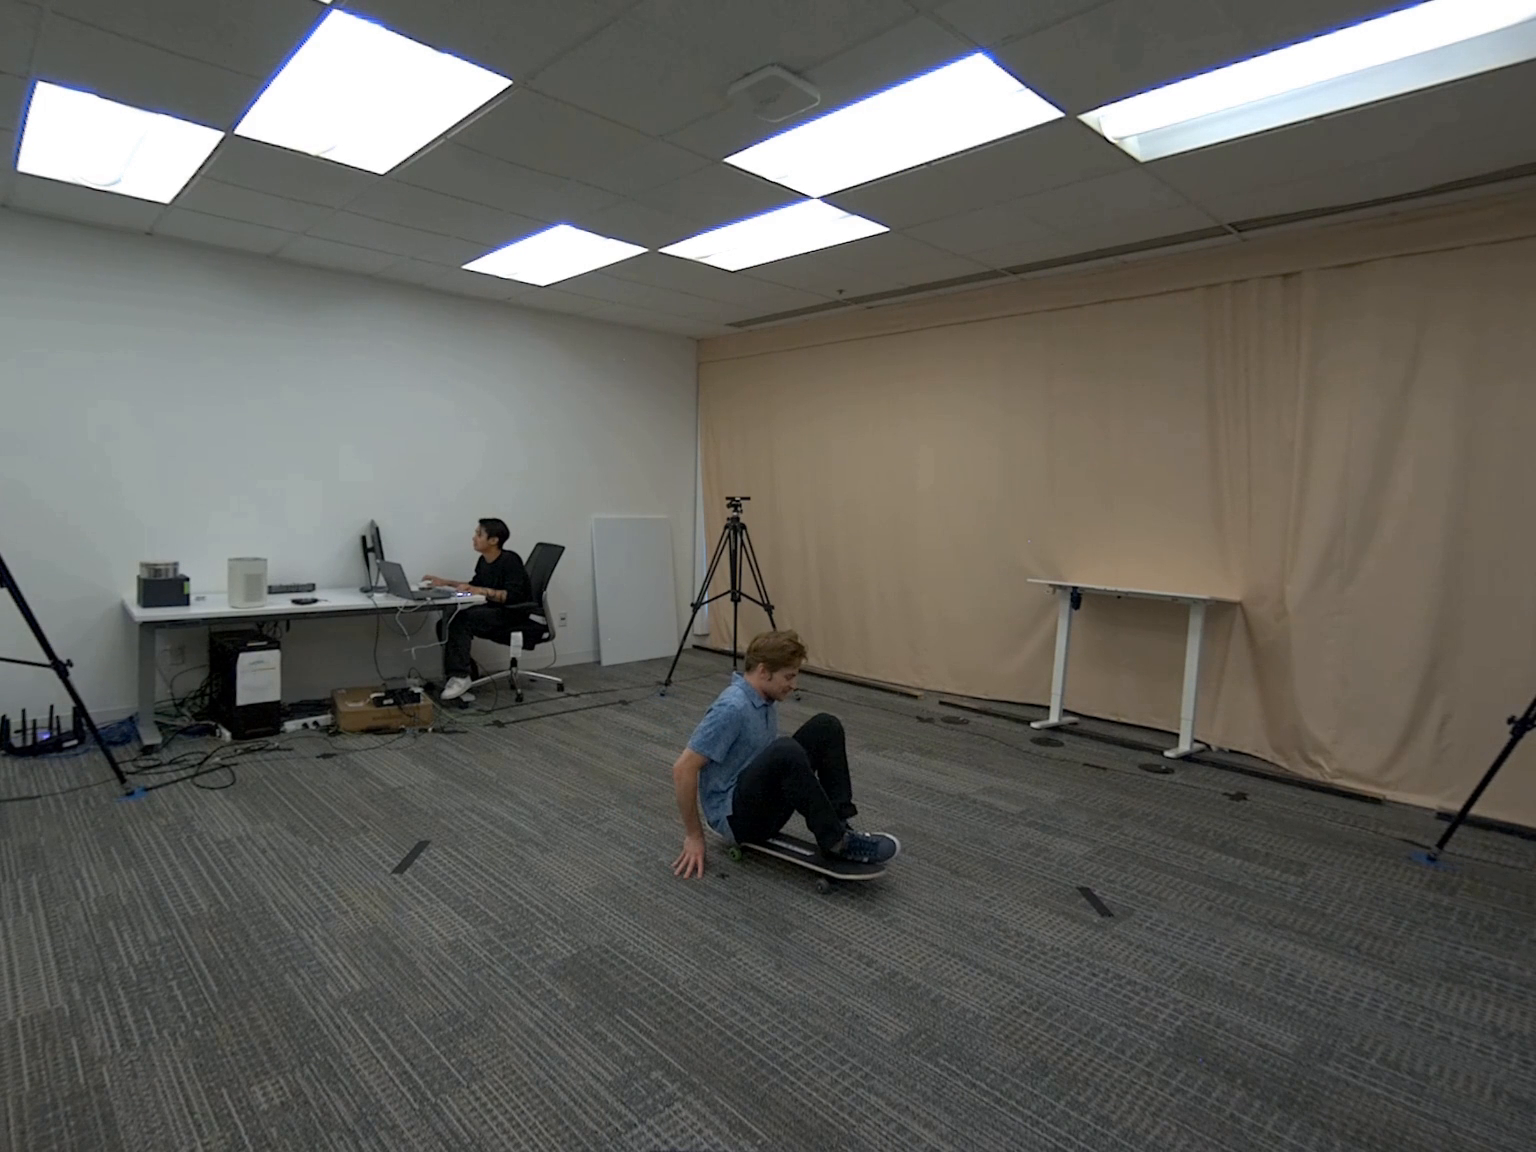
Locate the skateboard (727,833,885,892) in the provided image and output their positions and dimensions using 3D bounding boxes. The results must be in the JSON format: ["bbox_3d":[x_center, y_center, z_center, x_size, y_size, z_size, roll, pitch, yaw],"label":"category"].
[{"bbox_3d":[0.092,1.053,3.177,0.804,0.110,0.189,4,2,38],"label":"skateboard"}]
